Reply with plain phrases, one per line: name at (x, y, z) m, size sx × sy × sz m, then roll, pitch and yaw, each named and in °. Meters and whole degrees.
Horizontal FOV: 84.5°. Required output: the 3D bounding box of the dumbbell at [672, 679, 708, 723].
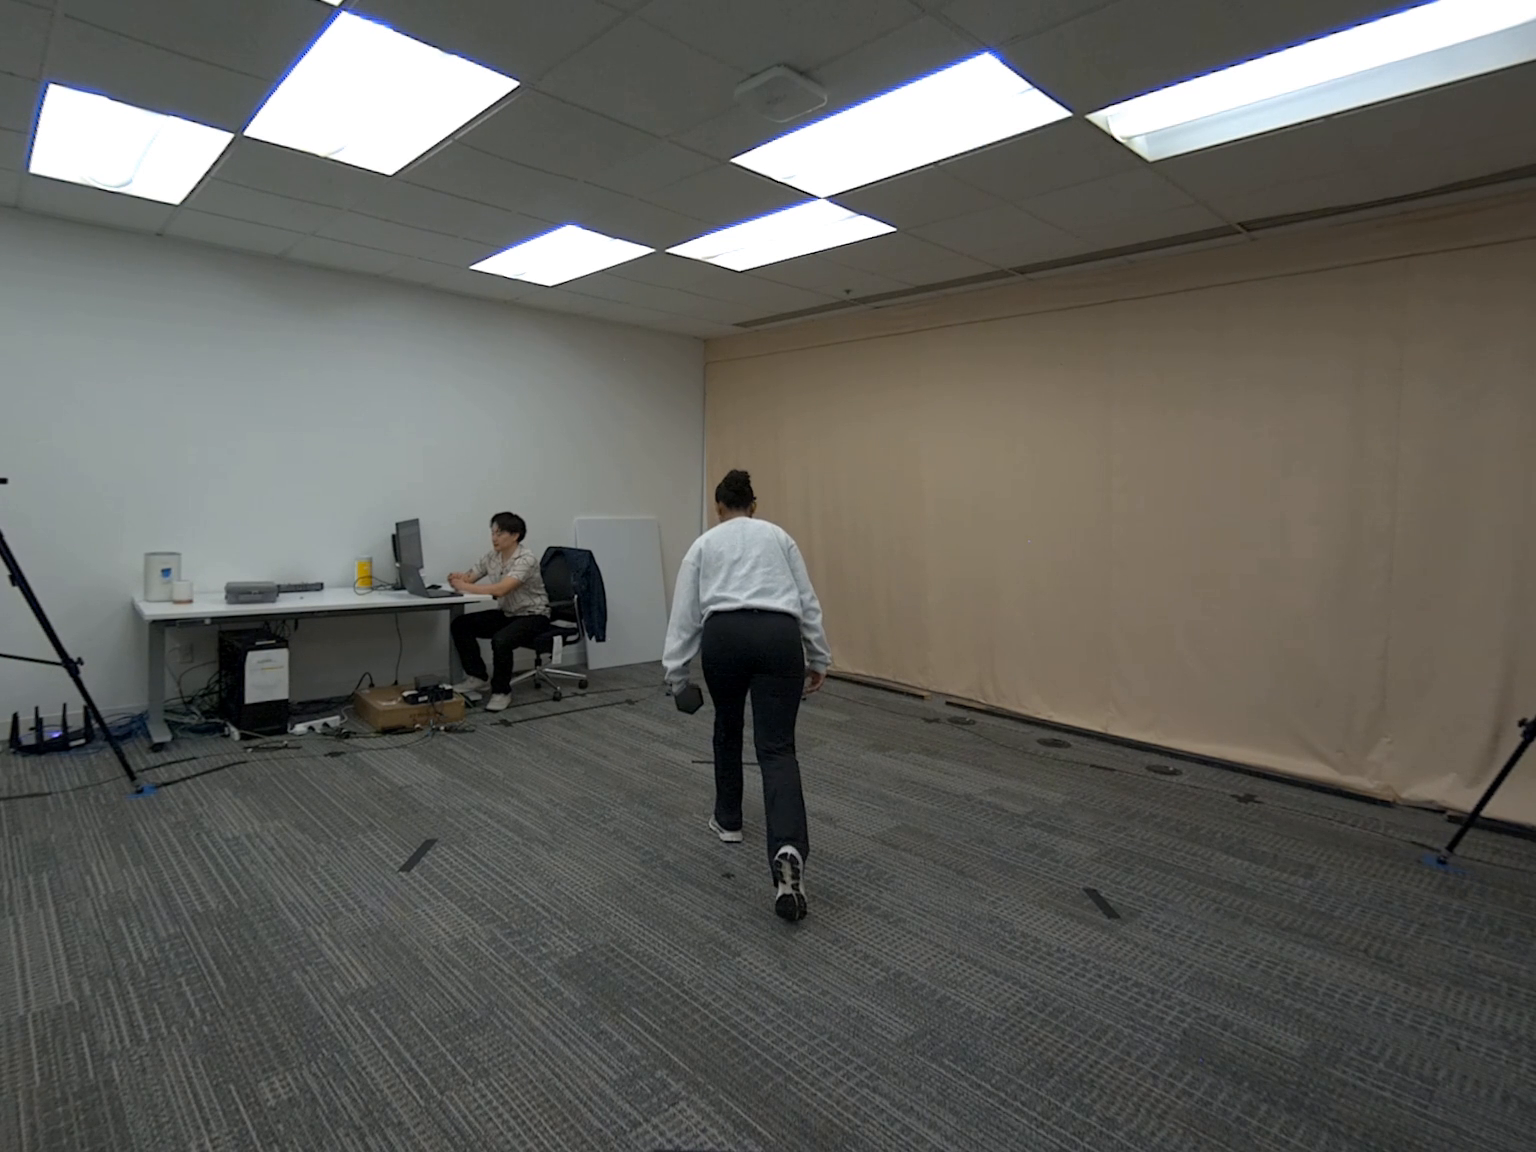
dumbbell at (-0.315, 0.492, 3.377) m, size 0.108 × 0.123 × 0.293 m, roll -14°, pitch -3°, yaw -7°
